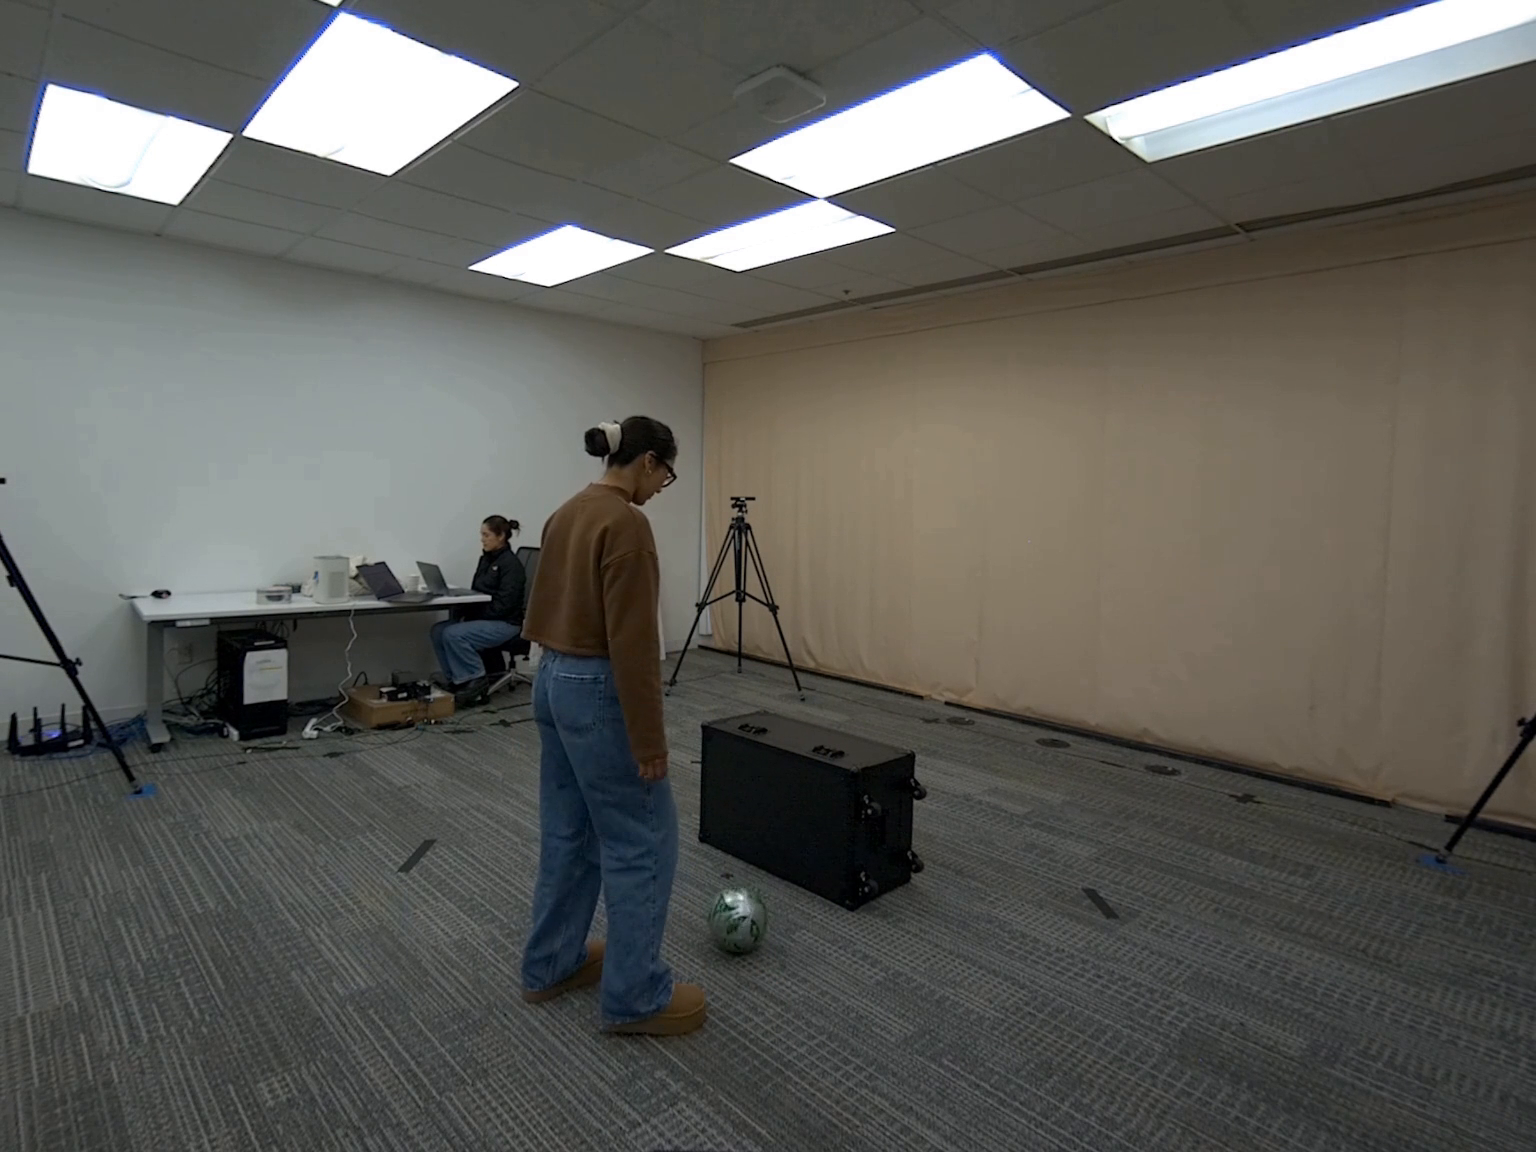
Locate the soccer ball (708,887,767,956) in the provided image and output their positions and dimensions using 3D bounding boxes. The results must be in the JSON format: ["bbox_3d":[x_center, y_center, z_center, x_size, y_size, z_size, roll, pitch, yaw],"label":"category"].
[{"bbox_3d":[-0.102,1.061,2.602,0.187,0.187,0.188,1,4,-1],"label":"soccer ball"}]
